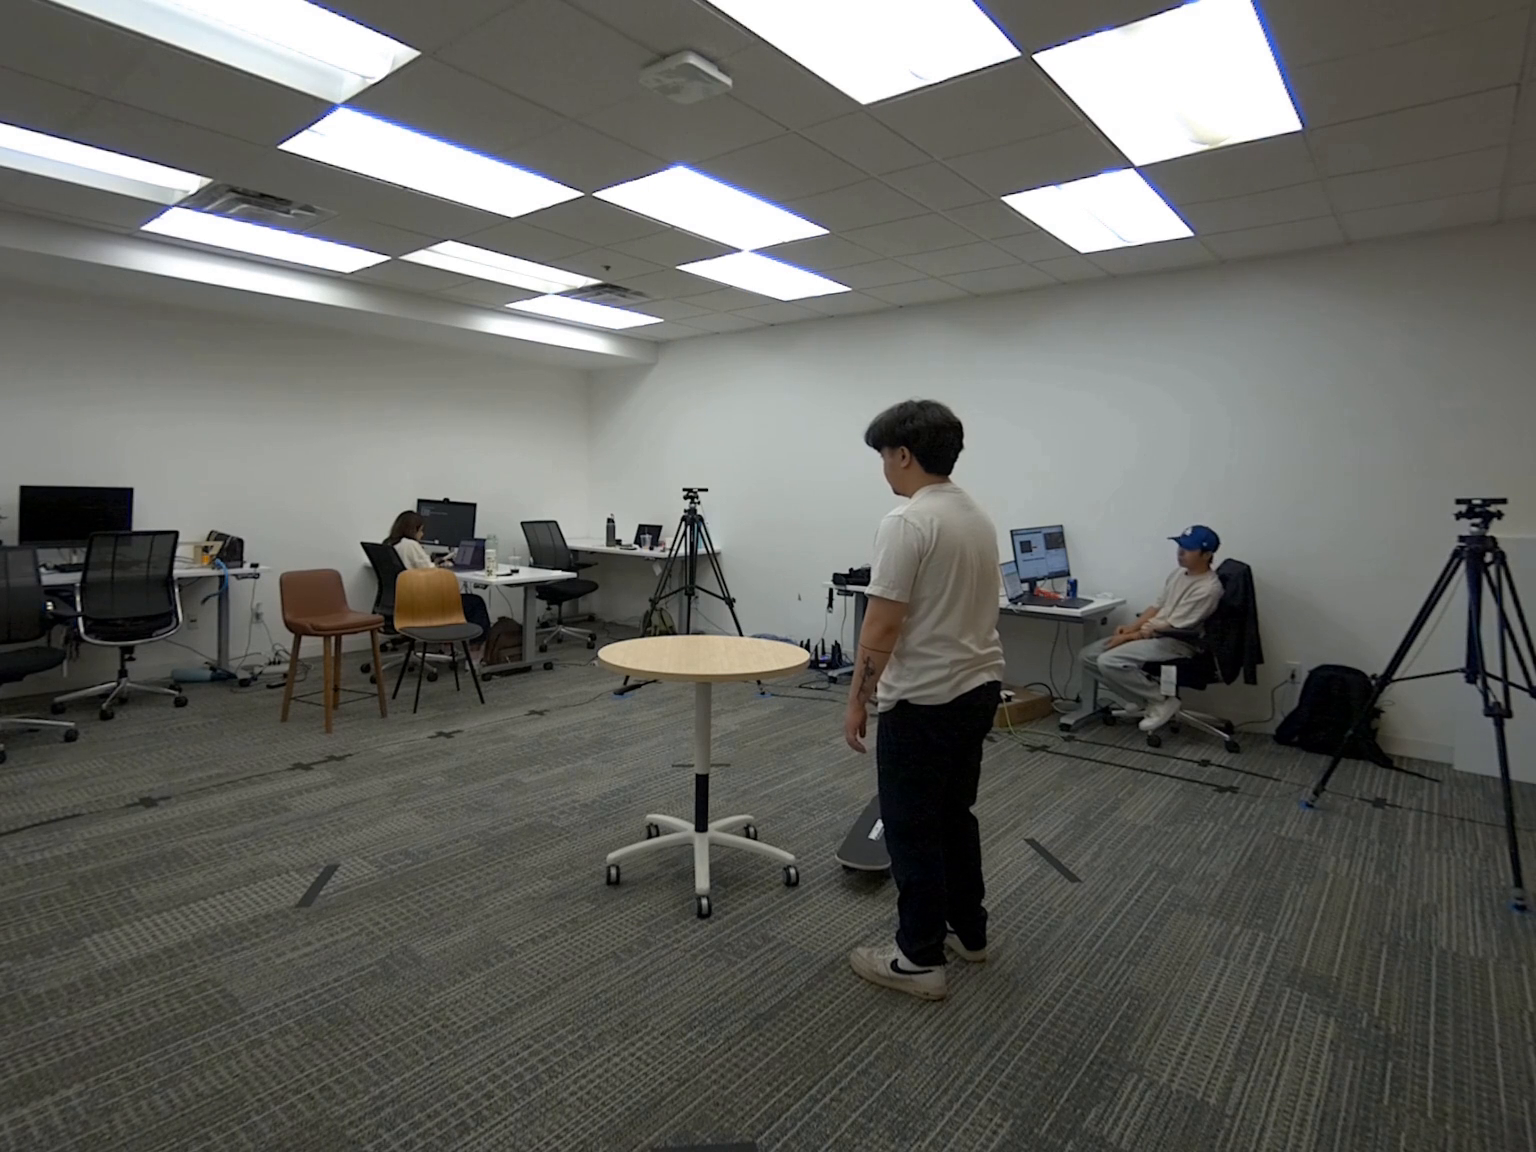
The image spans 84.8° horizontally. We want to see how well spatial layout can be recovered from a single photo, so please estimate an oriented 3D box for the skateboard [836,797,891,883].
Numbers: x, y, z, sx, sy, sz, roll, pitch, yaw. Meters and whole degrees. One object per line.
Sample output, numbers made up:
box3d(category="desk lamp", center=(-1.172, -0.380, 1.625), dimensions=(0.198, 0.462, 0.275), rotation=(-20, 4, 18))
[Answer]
box3d(category="skateboard", center=(0.417, 1.005, 3.292), dimensions=(0.197, 0.110, 0.772), rotation=(3, 6, 19))
